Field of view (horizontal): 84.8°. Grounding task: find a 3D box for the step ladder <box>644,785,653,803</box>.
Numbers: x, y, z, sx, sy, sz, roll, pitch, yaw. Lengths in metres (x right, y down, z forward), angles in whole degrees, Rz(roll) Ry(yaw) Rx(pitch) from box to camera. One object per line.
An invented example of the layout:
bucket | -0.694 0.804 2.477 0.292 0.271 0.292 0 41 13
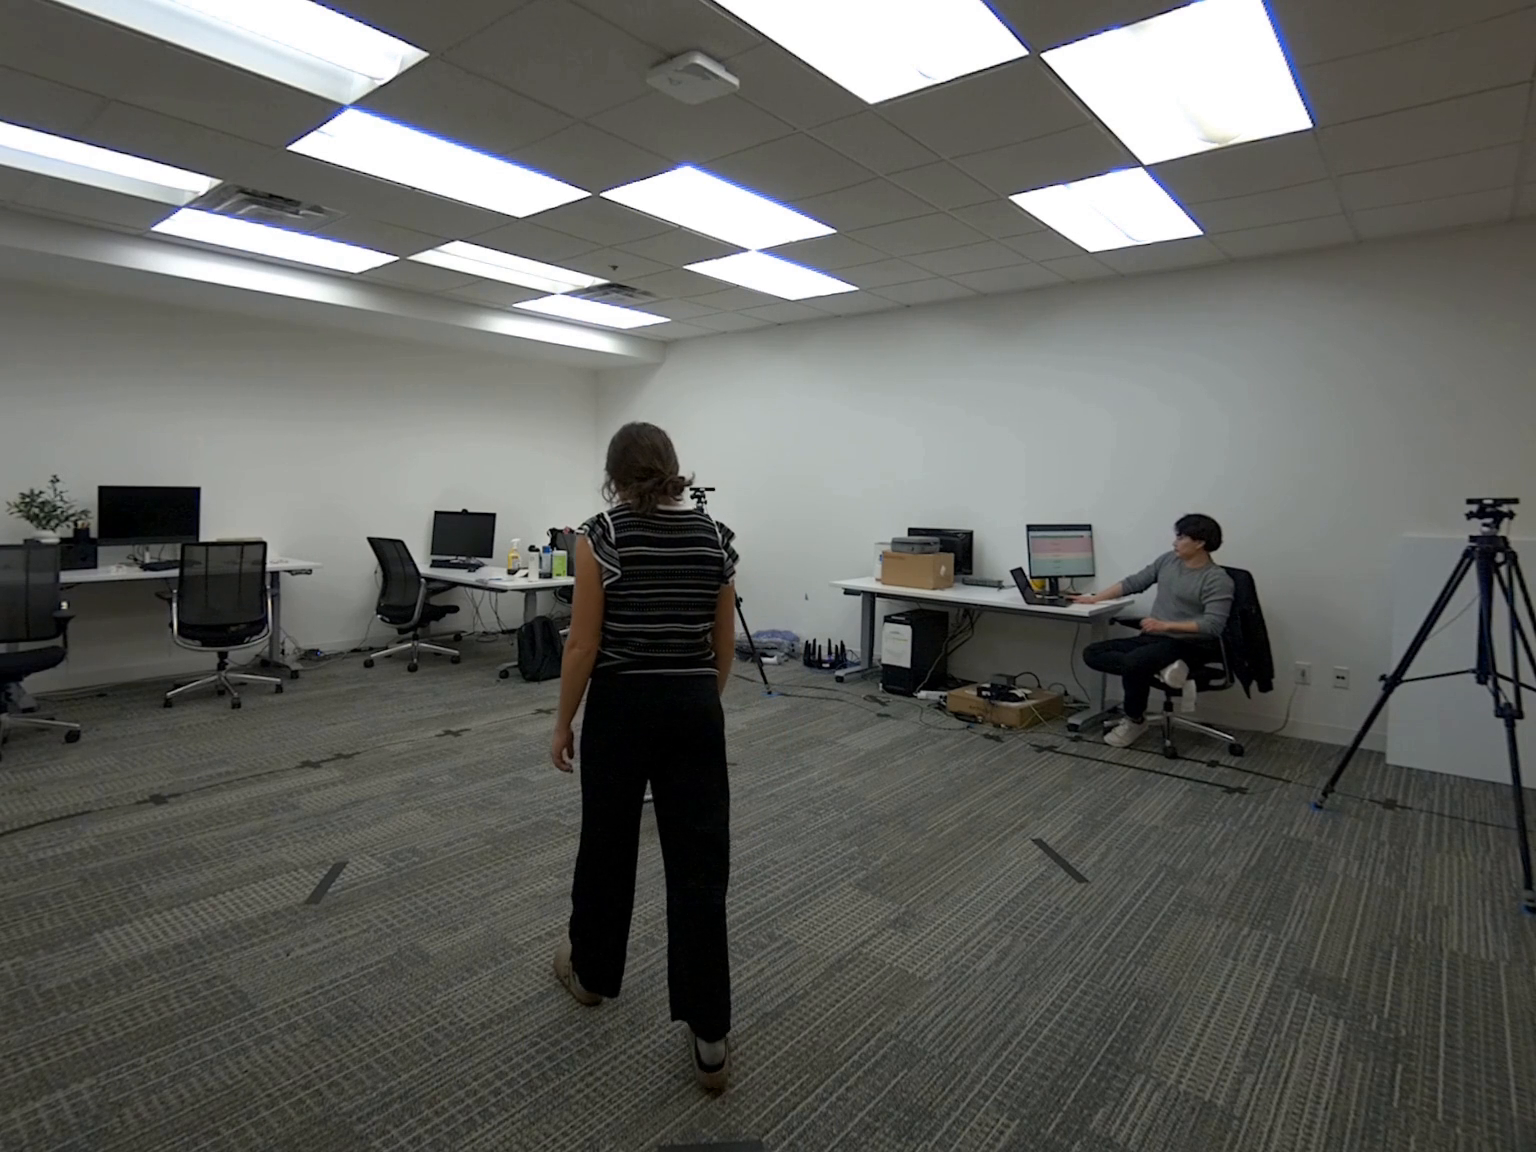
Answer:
step ladder | -0.488 0.706 3.587 0.418 0.605 0.360 -1 3 -33
